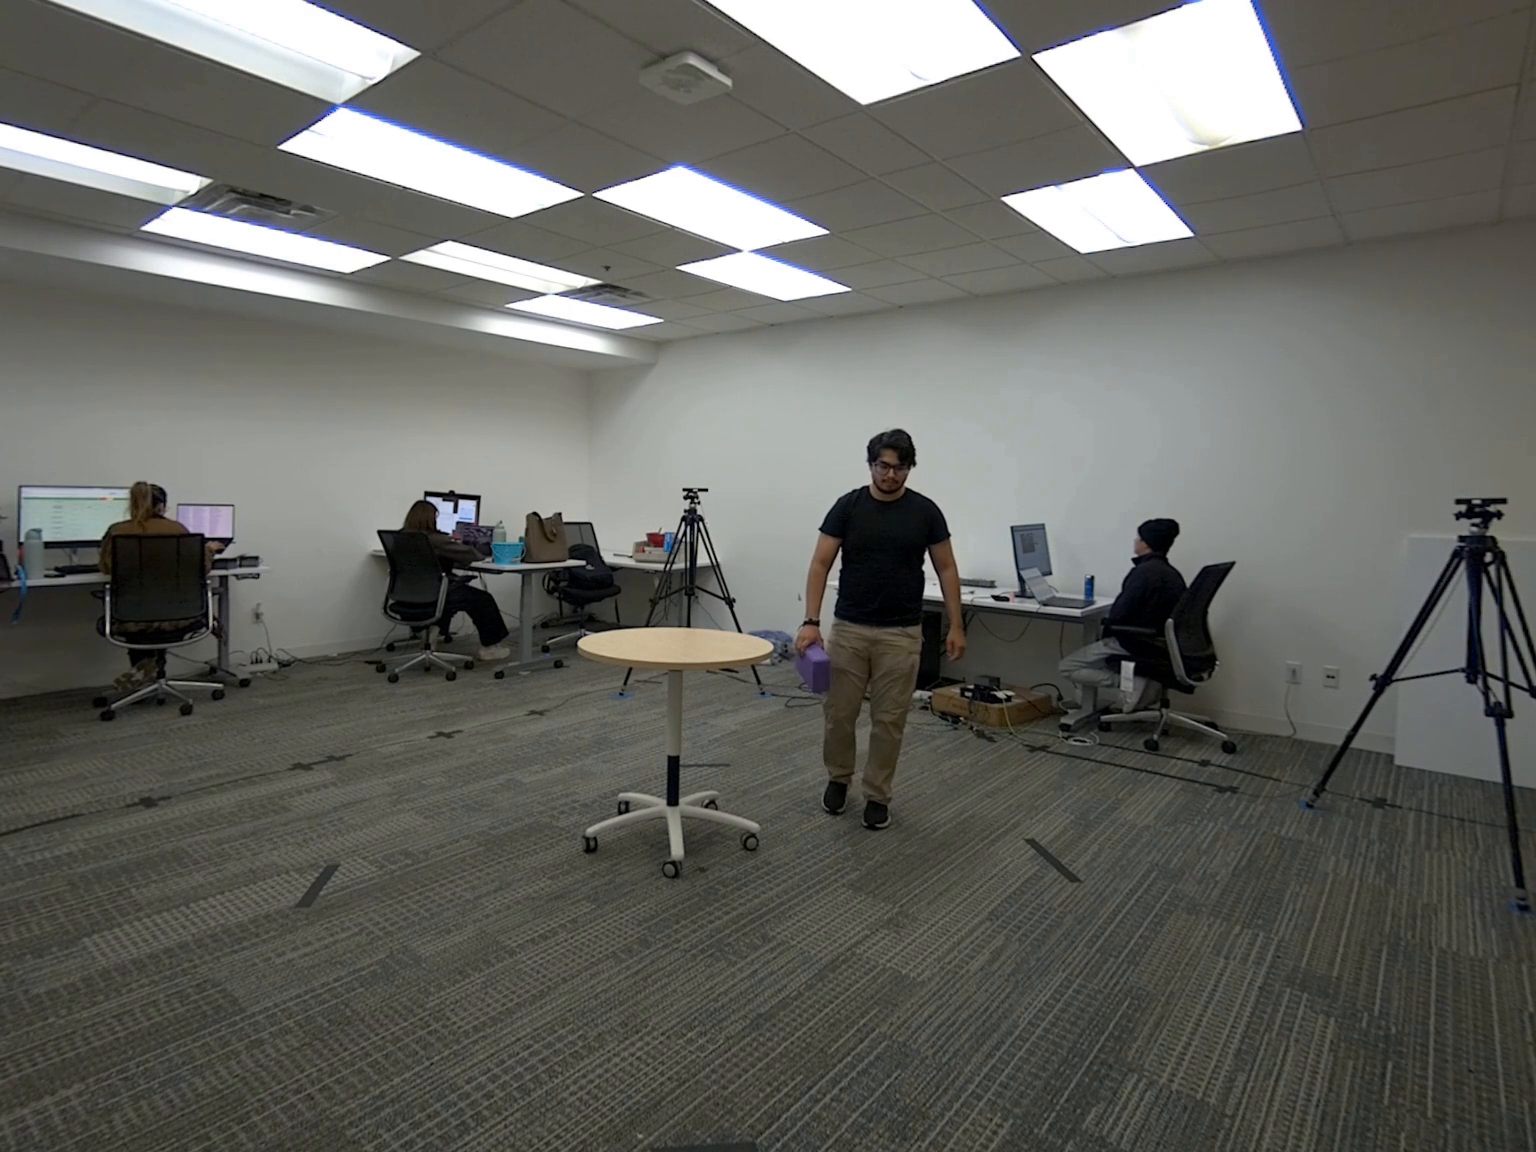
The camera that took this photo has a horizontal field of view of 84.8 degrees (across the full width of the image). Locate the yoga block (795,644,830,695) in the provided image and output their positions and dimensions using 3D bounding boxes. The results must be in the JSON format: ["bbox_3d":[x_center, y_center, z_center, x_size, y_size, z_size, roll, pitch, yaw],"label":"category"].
[{"bbox_3d":[0.171,0.356,3.484,0.075,0.146,0.236,-4,19,-14],"label":"yoga block"}]
